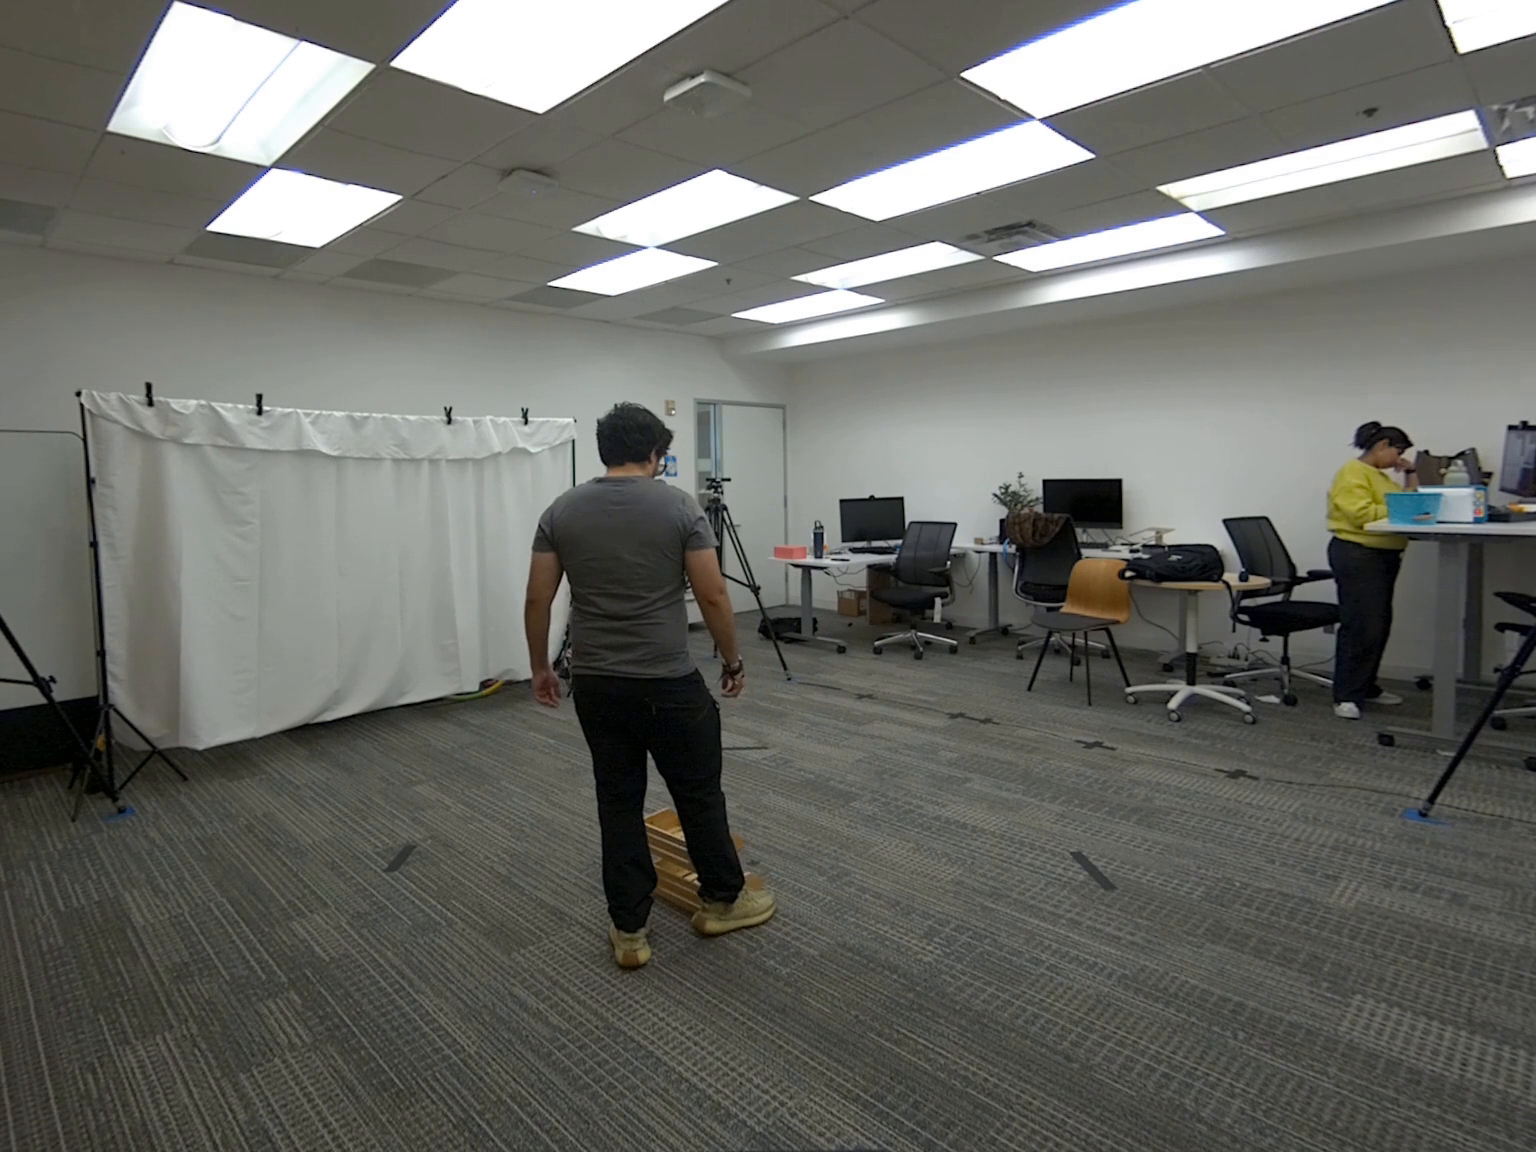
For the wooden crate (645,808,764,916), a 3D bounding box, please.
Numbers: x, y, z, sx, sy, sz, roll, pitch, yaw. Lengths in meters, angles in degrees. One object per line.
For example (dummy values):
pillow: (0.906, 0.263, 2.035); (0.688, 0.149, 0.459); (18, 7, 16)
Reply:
wooden crate: (-0.223, 0.938, 2.873); (0.334, 0.272, 0.294); (5, 9, 41)
